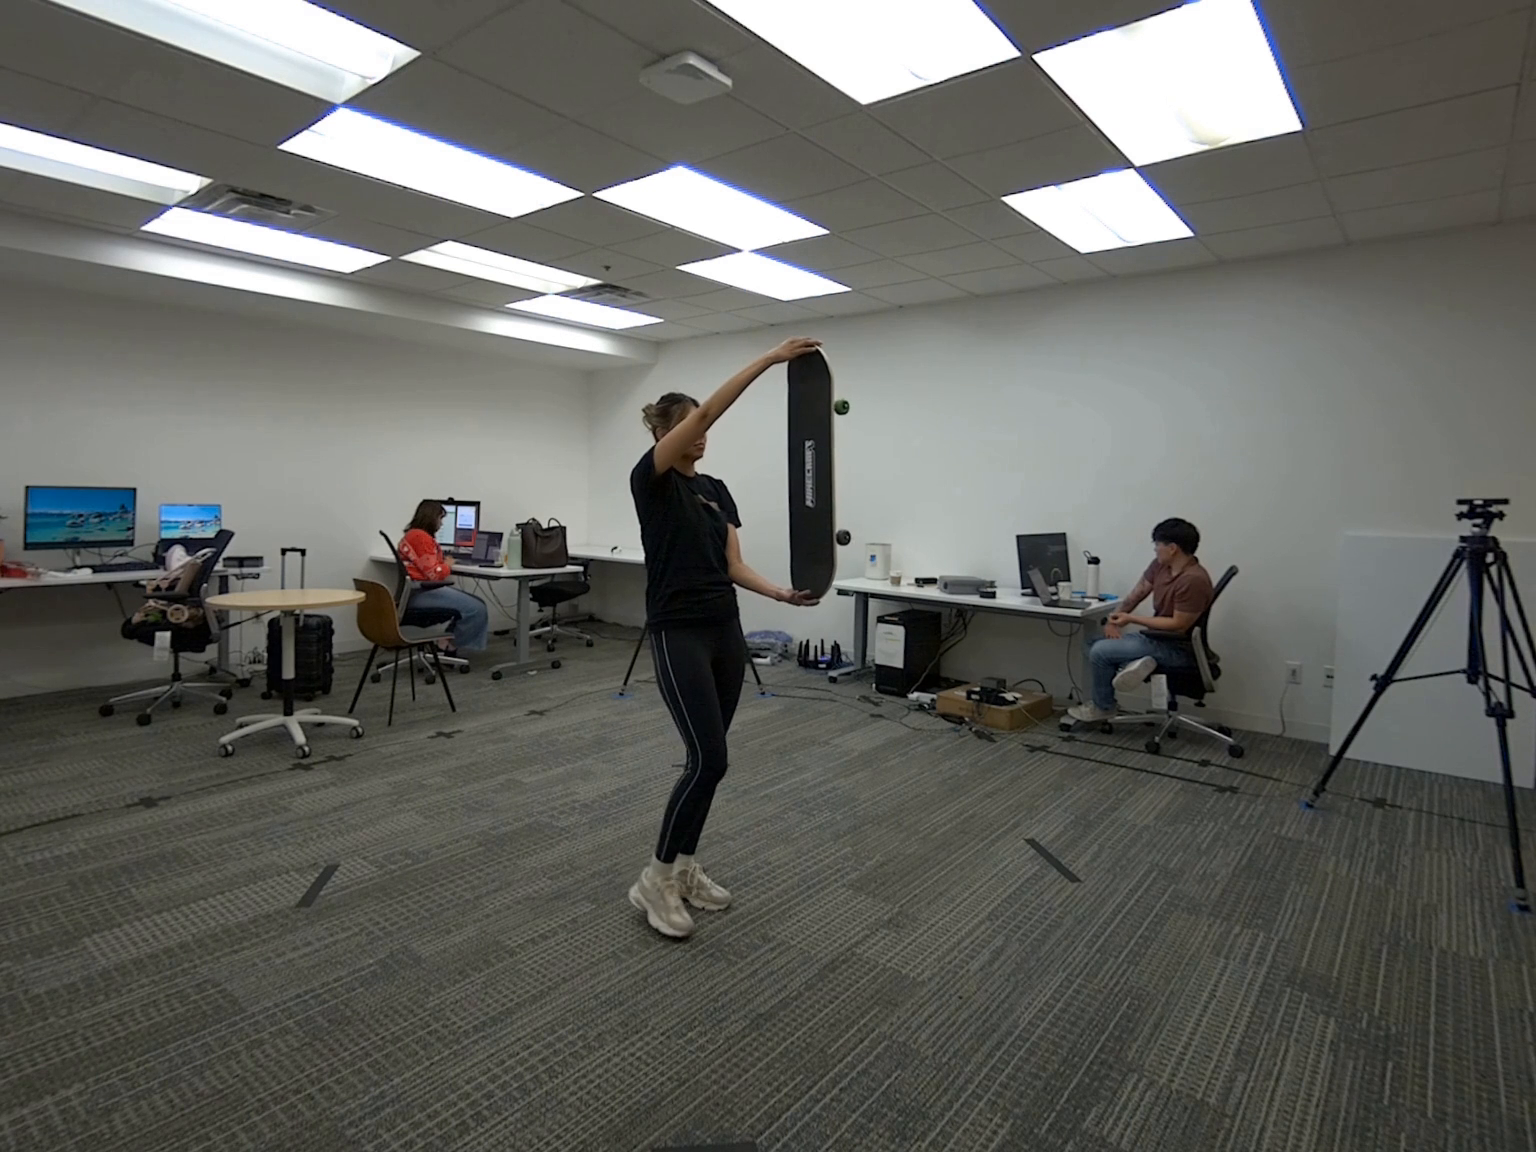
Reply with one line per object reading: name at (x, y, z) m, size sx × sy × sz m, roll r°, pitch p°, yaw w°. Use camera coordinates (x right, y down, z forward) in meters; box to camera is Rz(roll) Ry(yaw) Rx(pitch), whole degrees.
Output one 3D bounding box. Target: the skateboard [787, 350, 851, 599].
skateboard at (0.147, -0.319, 2.632) m, size 0.107 × 0.783 × 0.200 m, roll -2°, pitch 4°, yaw -40°
